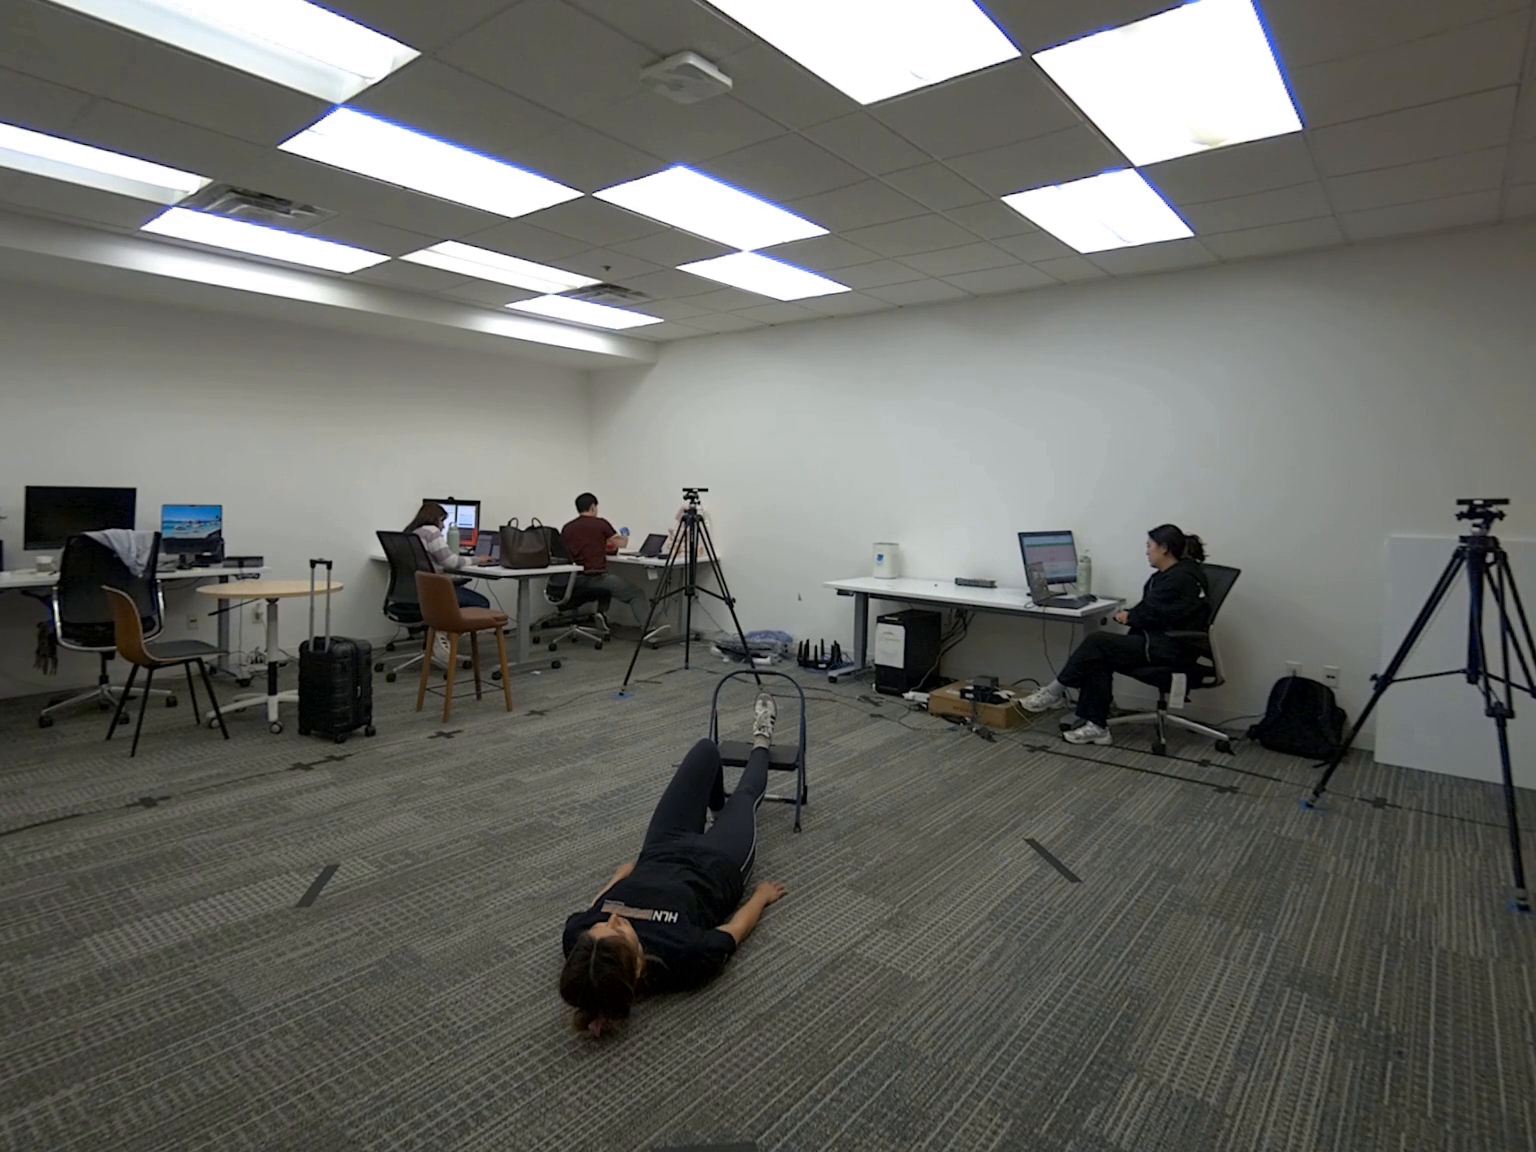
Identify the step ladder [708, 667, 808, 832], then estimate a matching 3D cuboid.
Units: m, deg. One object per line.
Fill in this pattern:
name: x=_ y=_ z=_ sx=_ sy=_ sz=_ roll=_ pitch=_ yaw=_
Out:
step ladder: x=-0.050 y=0.718 z=3.663 sx=0.436 sy=0.604 sz=0.346 roll=2 pitch=3 yaw=10
